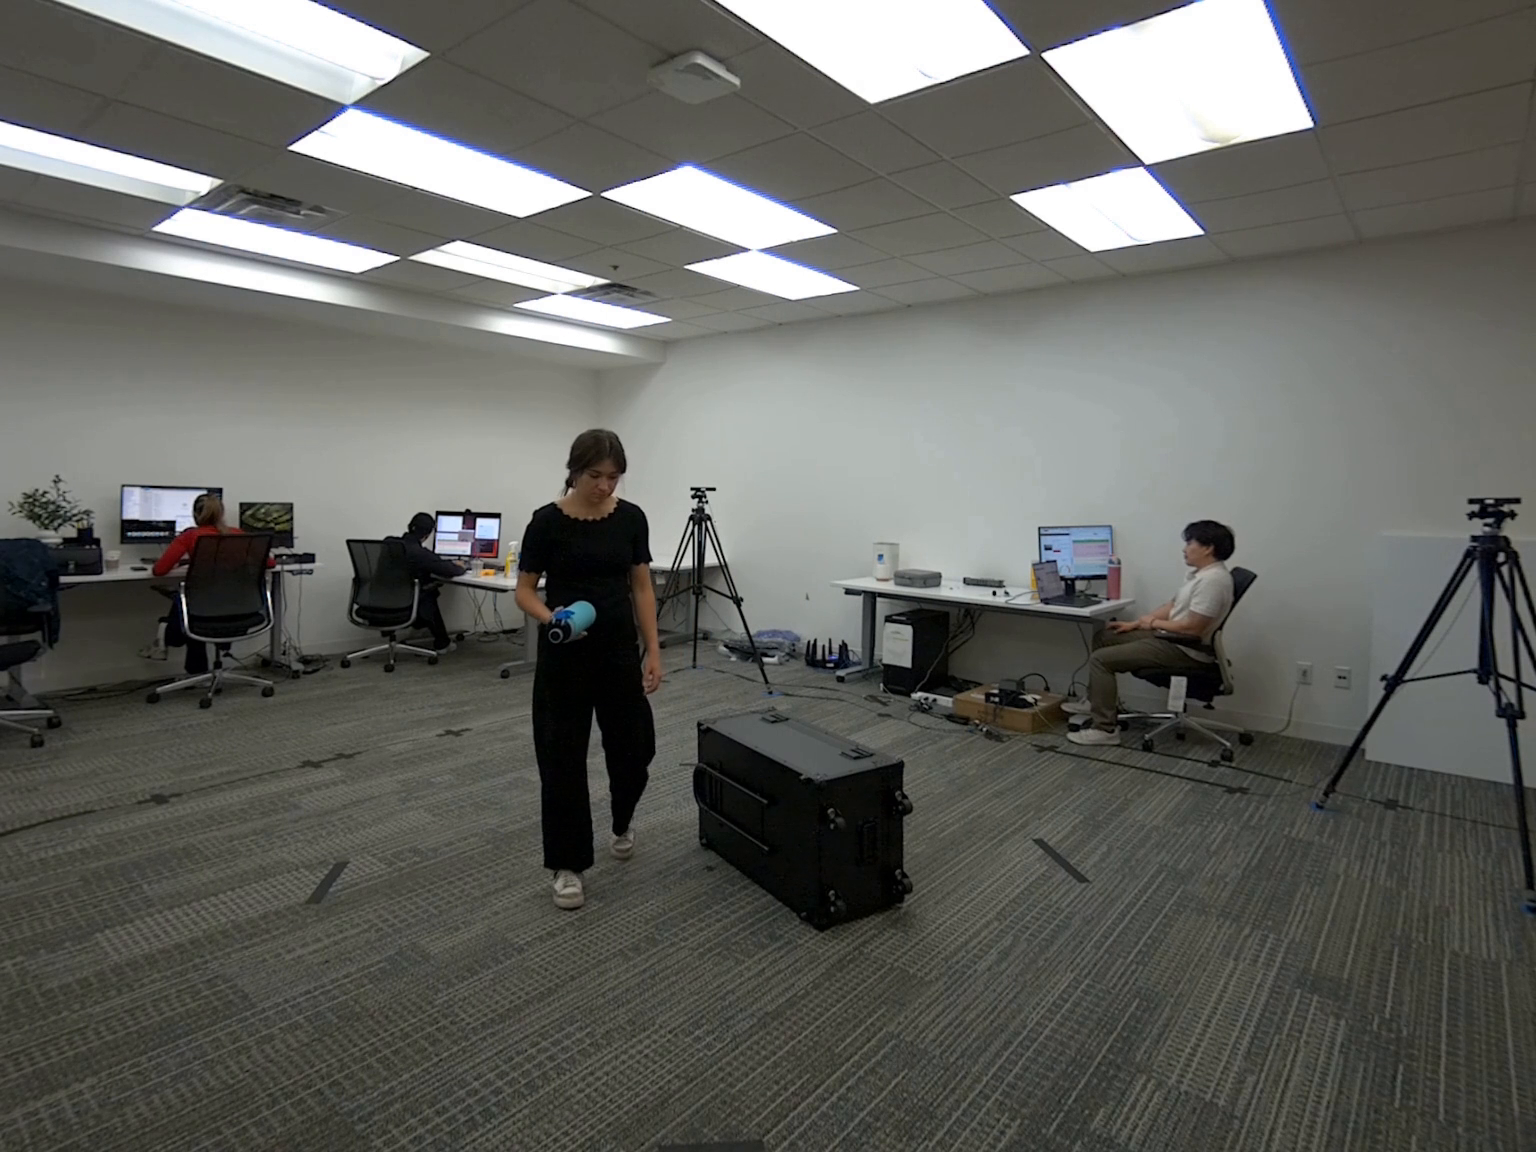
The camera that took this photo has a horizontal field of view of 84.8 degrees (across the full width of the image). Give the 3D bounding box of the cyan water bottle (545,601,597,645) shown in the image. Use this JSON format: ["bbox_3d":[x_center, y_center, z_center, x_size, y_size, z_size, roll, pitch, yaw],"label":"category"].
[{"bbox_3d":[-0.622,0.139,2.636,0.093,0.092,0.283,1,6,3],"label":"cyan water bottle"}]
